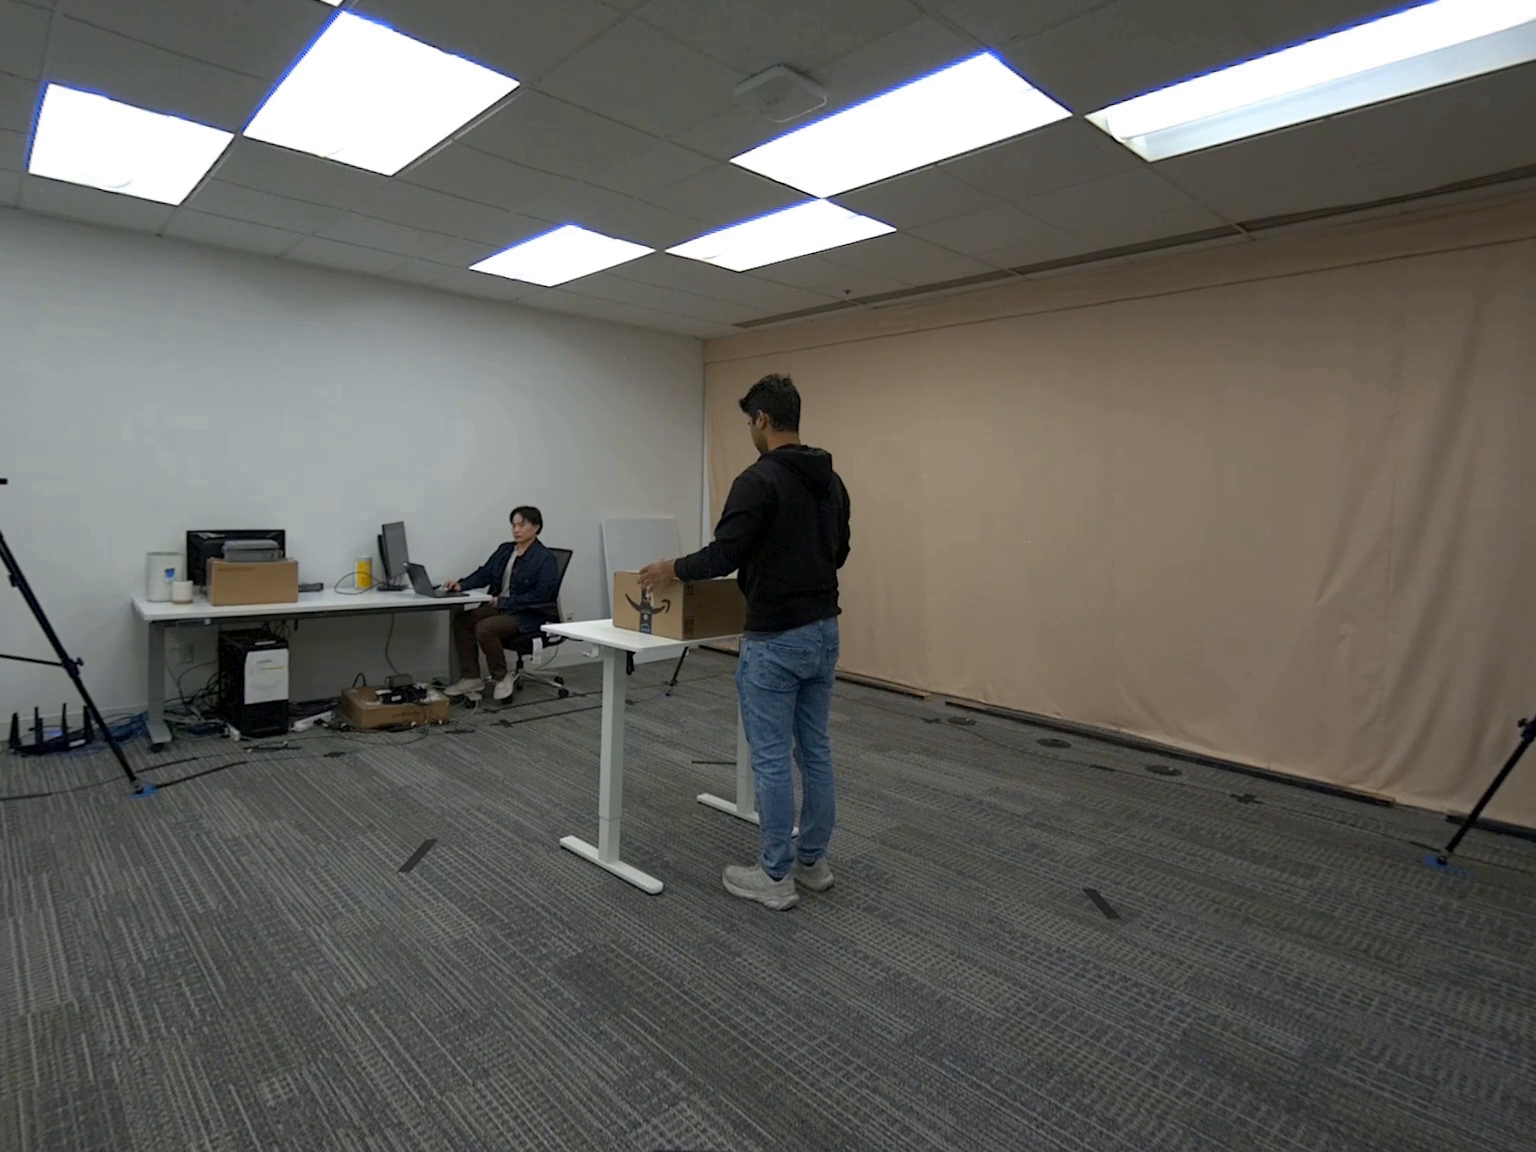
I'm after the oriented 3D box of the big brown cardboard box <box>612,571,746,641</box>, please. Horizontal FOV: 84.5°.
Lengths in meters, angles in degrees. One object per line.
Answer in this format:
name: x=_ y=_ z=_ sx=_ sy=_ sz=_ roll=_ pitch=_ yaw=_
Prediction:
big brown cardboard box: x=-0.262 y=0.093 z=3.319 sx=0.428 sy=0.232 sz=0.576 roll=6 pitch=7 yaw=43
